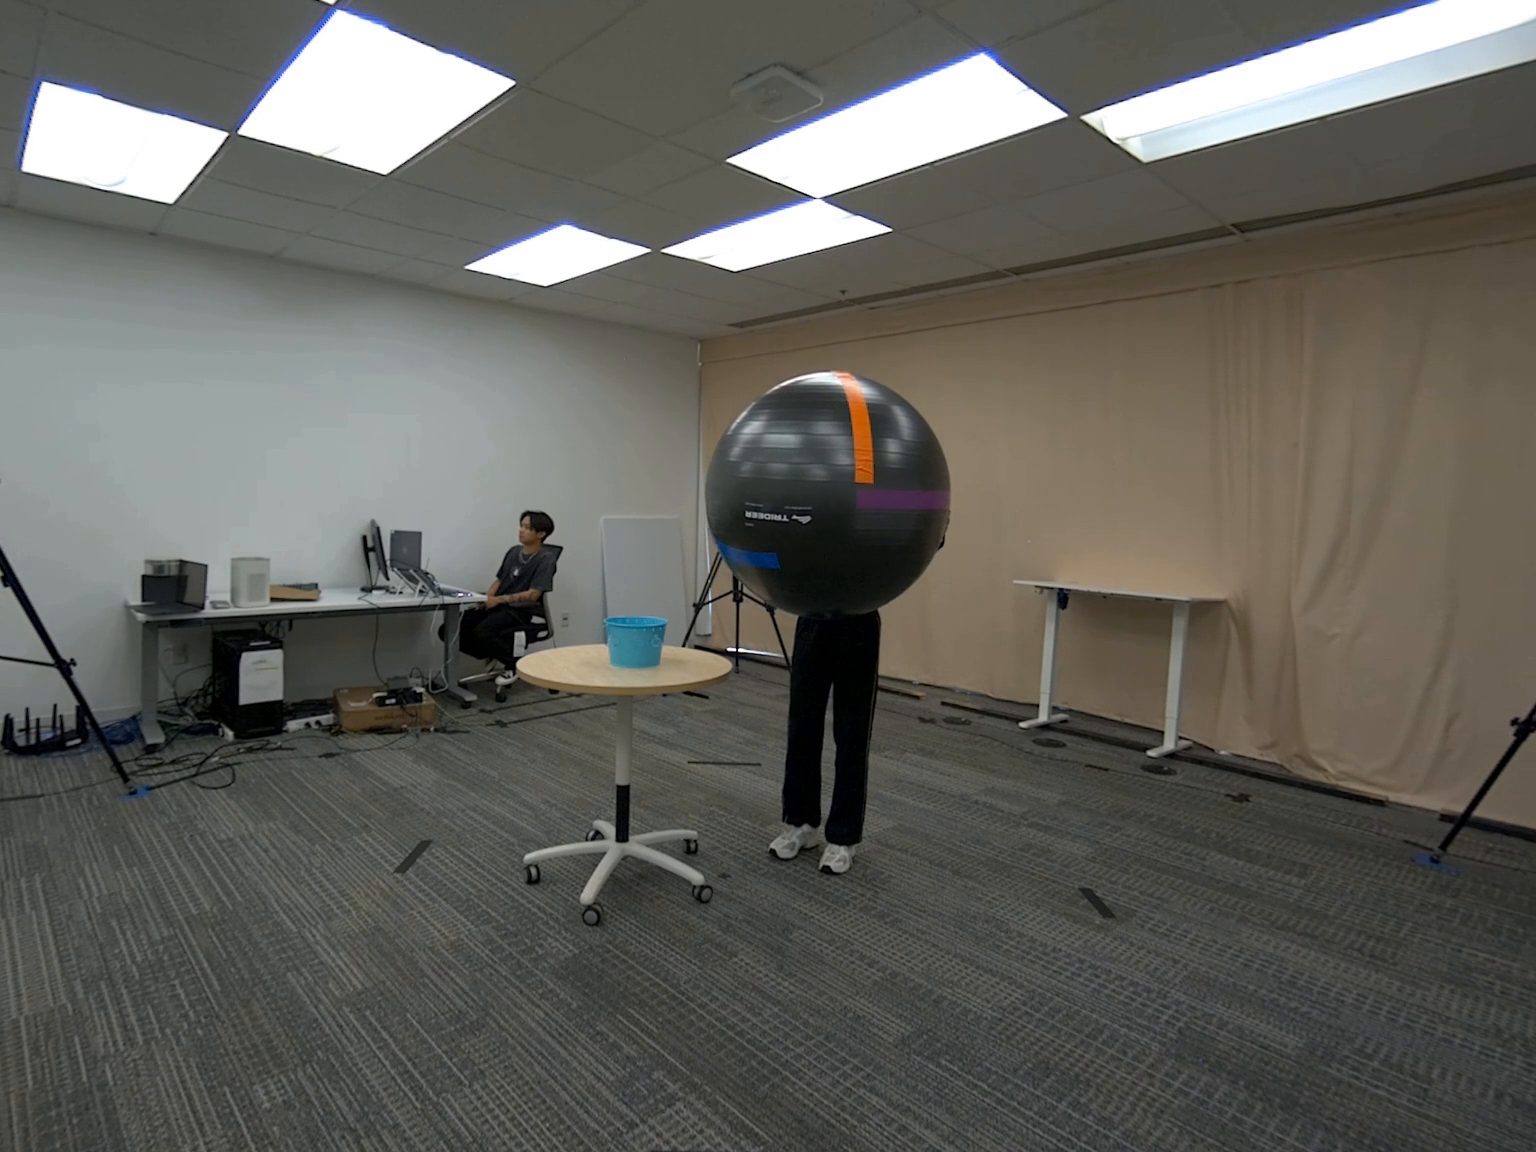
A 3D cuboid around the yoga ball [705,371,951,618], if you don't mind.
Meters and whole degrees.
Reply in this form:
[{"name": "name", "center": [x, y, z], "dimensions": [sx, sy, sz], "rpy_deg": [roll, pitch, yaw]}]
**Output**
[{"name": "yoga ball", "center": [0.180, -0.240, 2.611], "dimensions": [0.757, 0.756, 0.761], "rpy_deg": [1, 4, -1]}]
